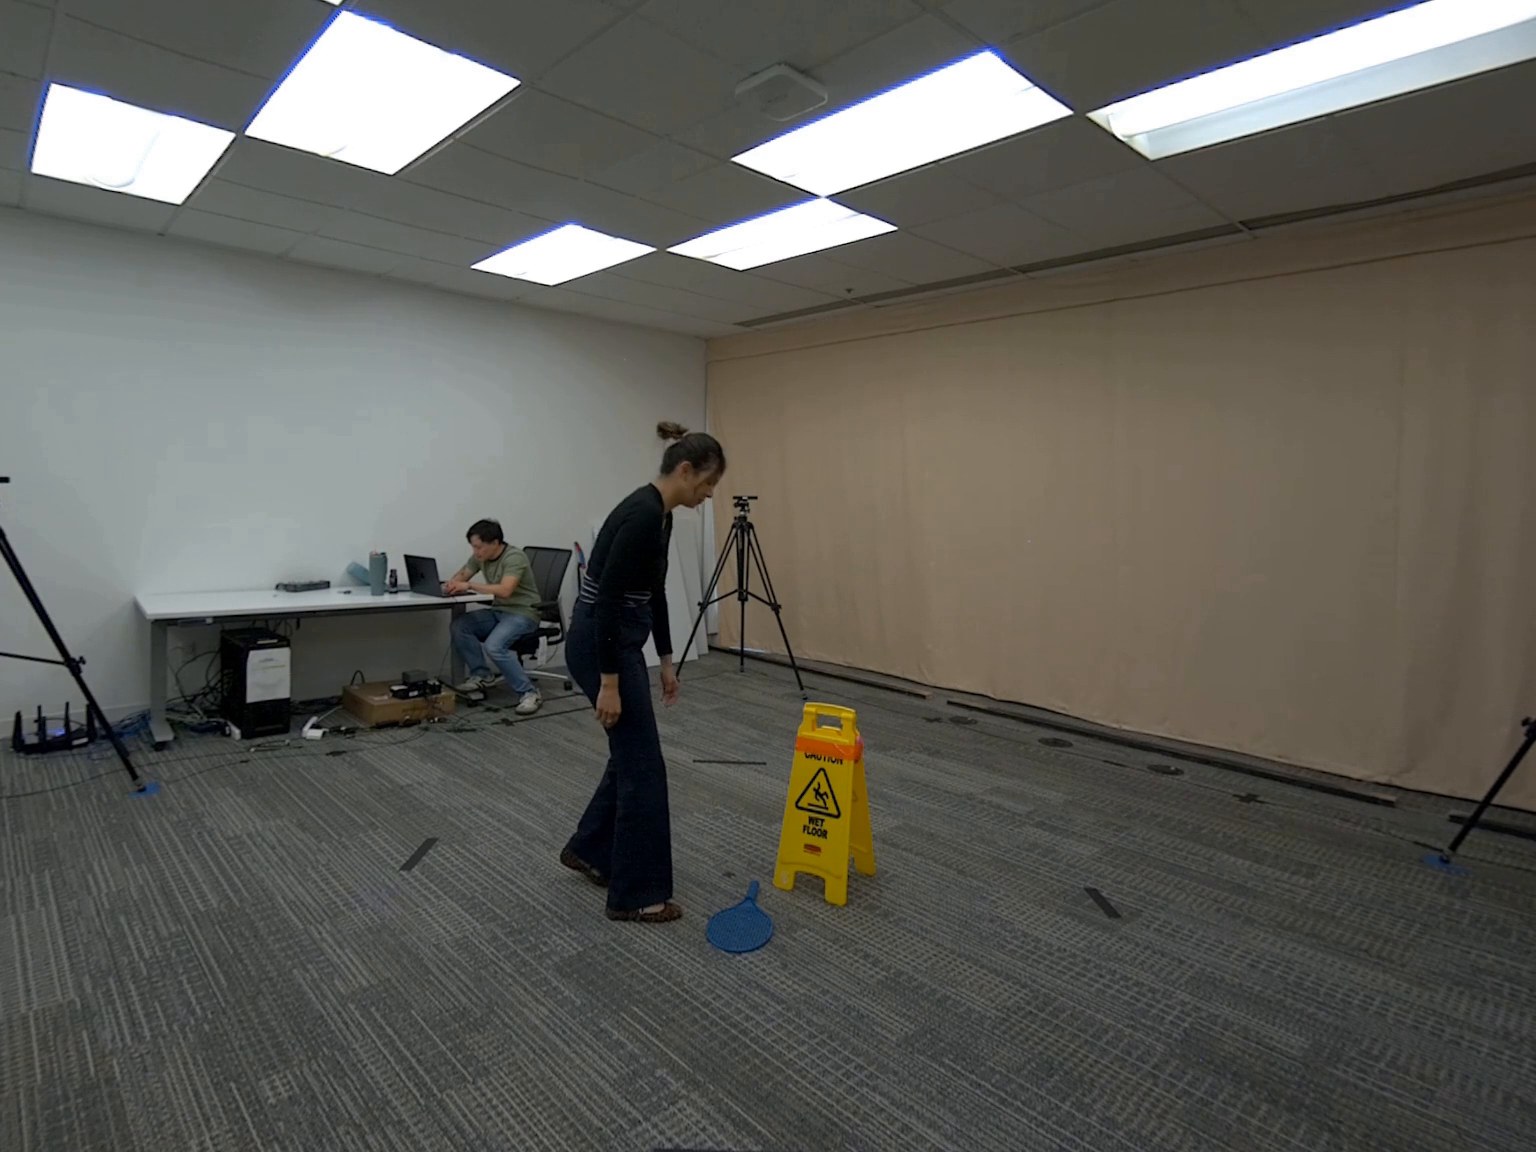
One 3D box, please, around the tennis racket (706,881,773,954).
[{"bbox_3d":[-0.089,1.117,2.776,0.215,0.031,0.432,2,7,7],"label":"tennis racket"}]
